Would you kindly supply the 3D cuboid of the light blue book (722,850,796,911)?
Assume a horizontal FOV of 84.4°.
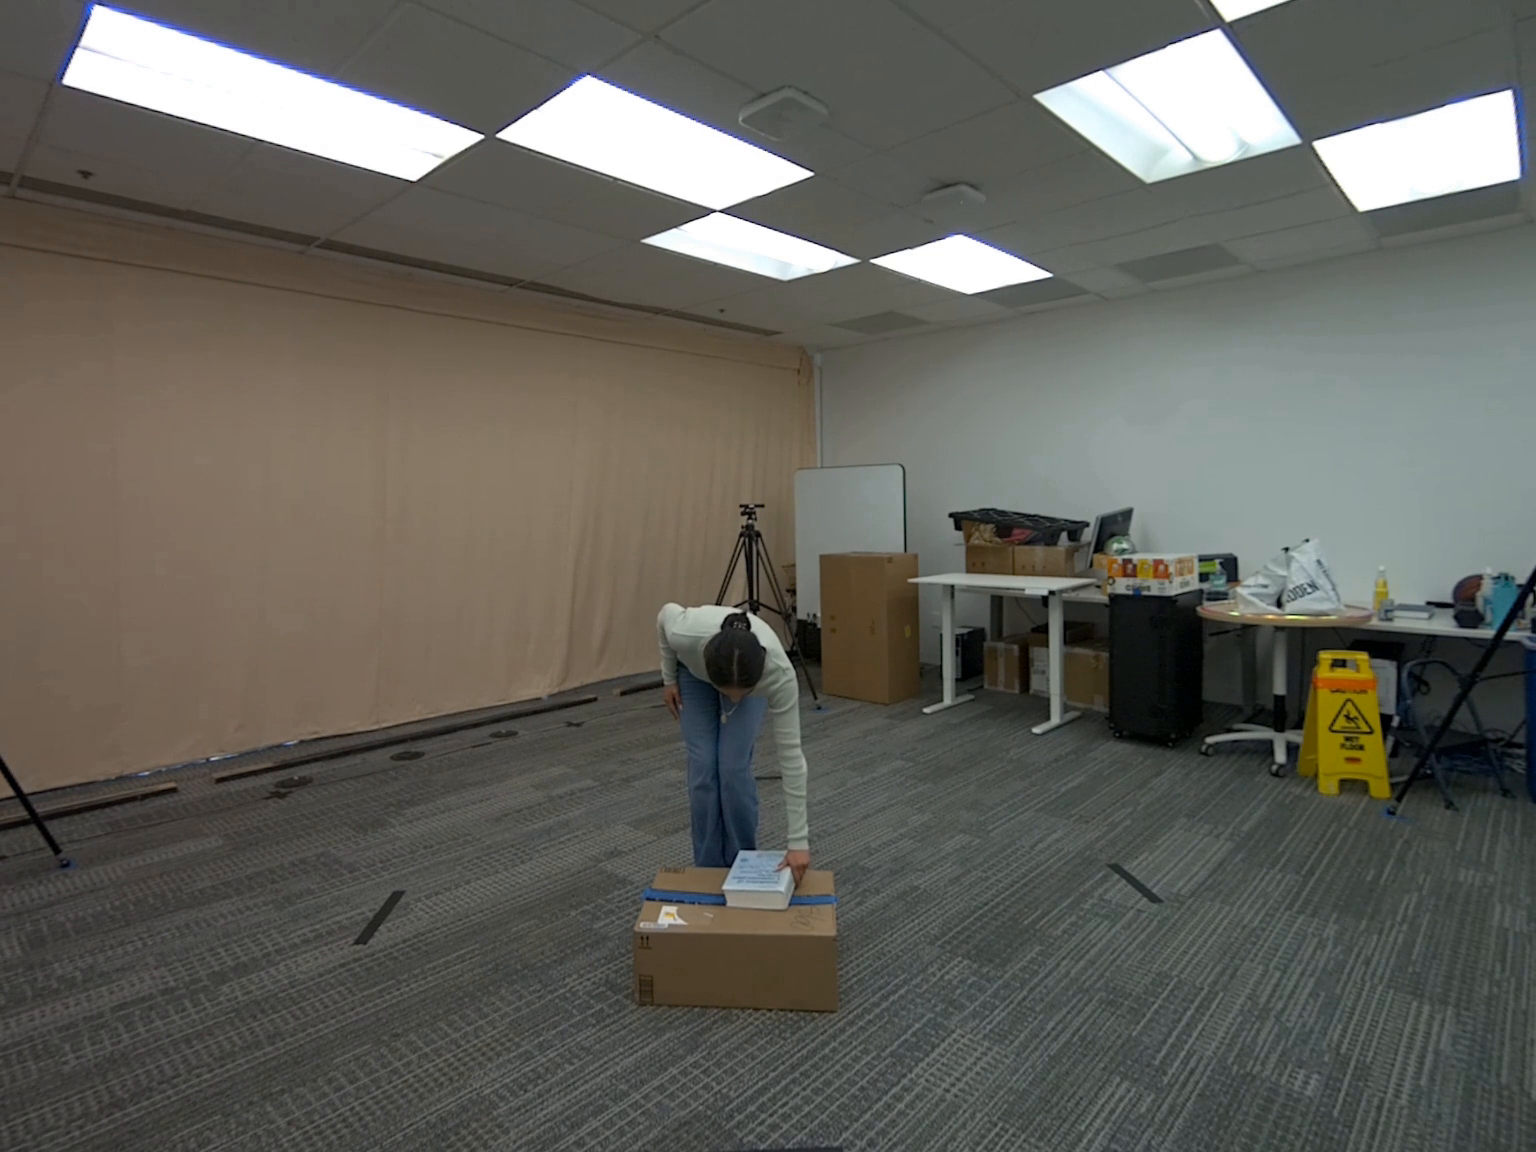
[{"bbox_3d":[-0.015,0.927,2.590,0.194,0.059,0.258,-4,6,13],"label":"light blue book"}]
